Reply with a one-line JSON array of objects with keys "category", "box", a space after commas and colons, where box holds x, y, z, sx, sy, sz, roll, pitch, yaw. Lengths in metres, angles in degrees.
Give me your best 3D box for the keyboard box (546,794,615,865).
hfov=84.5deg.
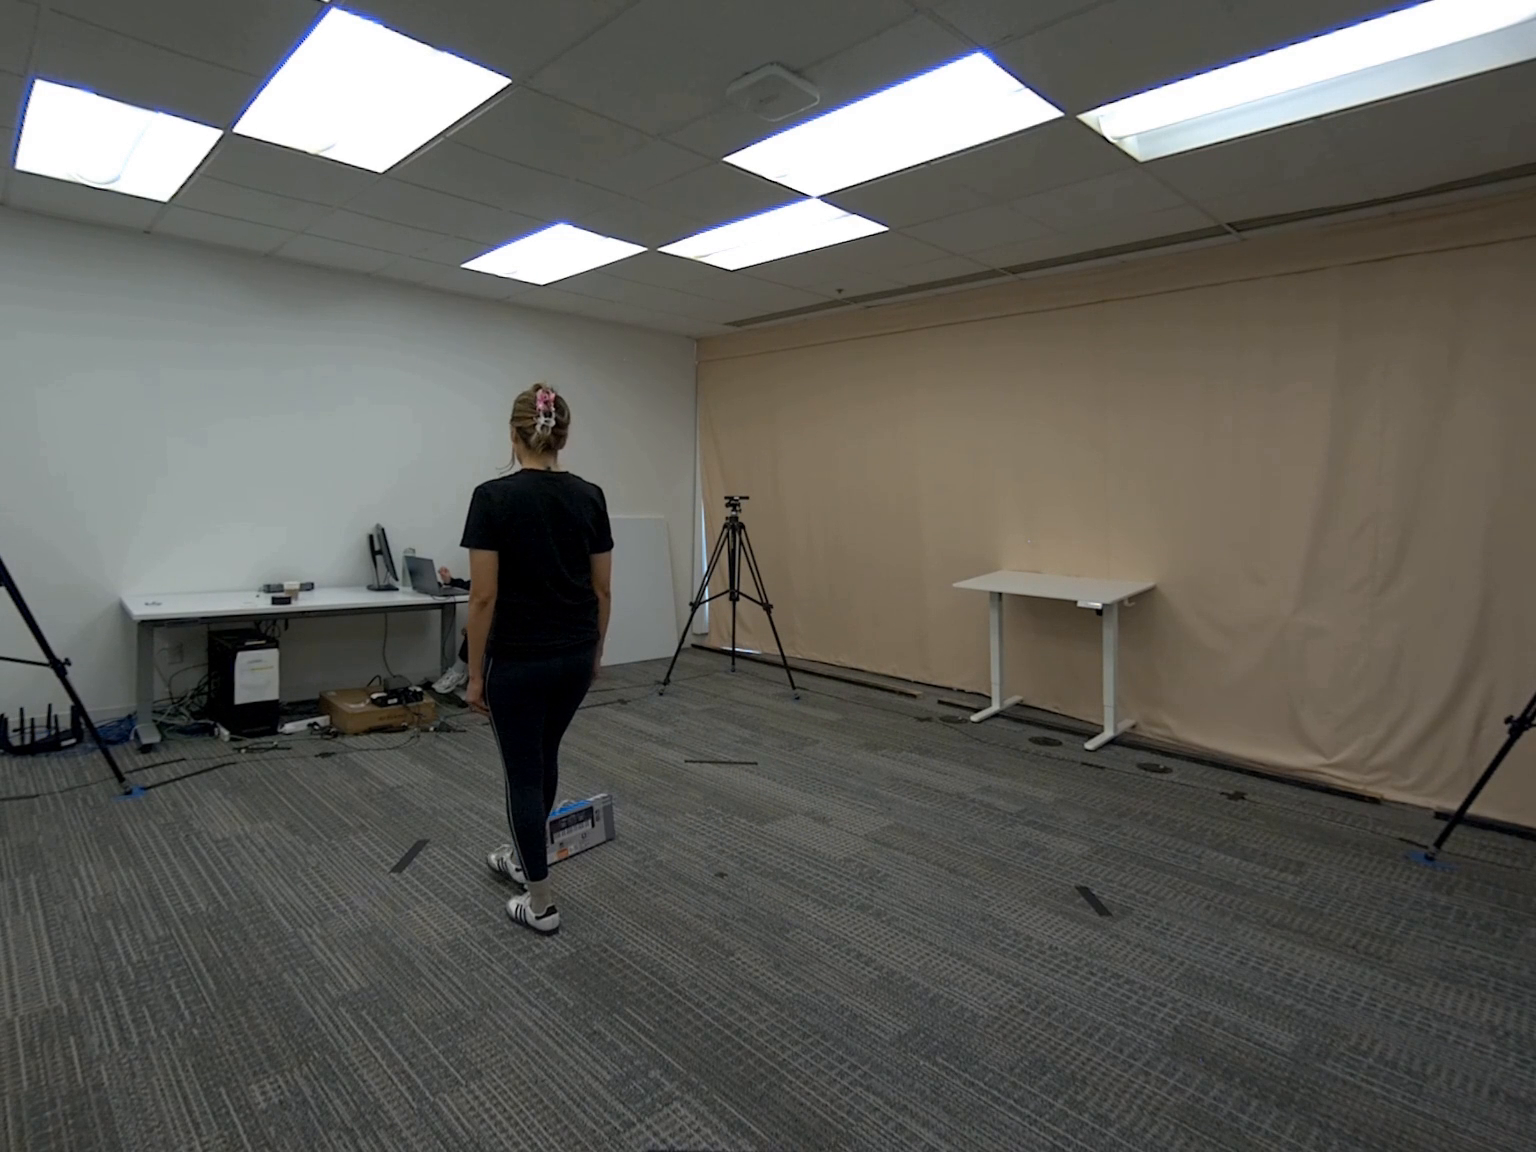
[{"category": "keyboard box", "box": [-0.780, 0.991, 3.258, 0.060, 0.176, 0.427, -7, -1, 35]}]
